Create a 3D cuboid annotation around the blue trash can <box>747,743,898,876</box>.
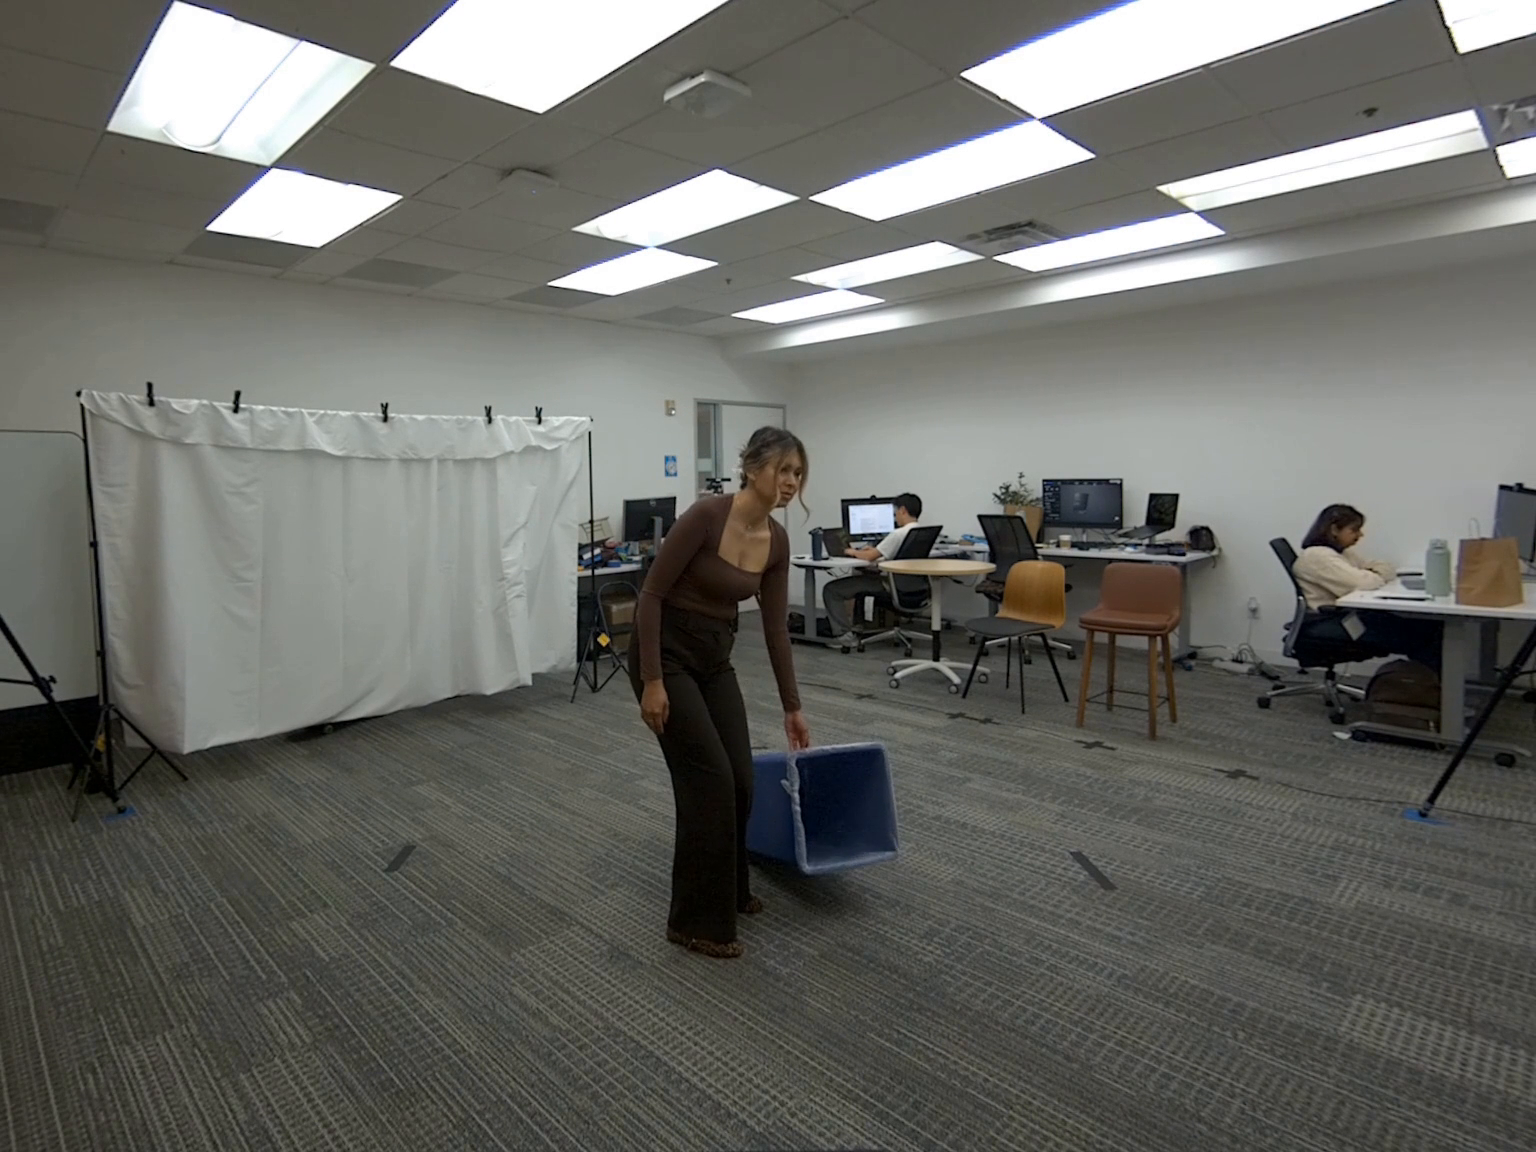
[{"bbox_3d":[0.110,0.797,3.041,0.366,0.382,0.722,-1,-10,-26],"label":"blue trash can"}]
